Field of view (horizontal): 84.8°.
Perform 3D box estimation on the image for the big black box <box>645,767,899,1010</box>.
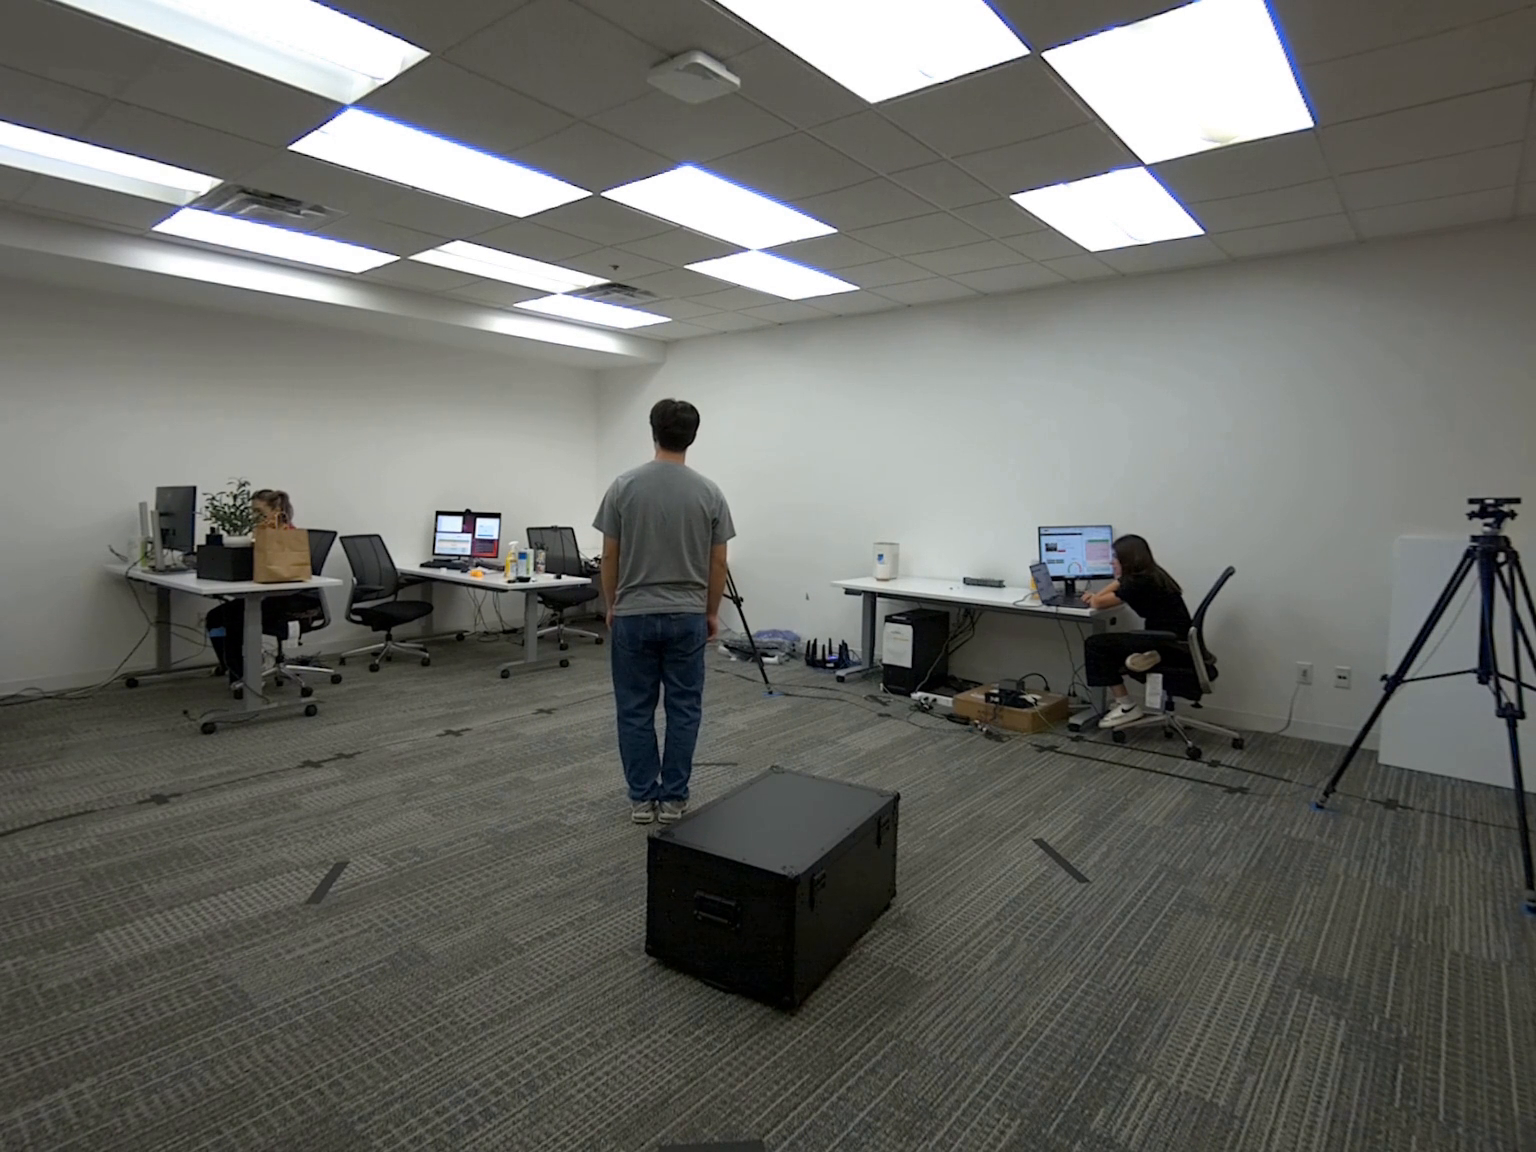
[{"bbox_3d":[0.055,0.923,2.698,0.536,0.395,0.840,3,6,29],"label":"big black box"}]
